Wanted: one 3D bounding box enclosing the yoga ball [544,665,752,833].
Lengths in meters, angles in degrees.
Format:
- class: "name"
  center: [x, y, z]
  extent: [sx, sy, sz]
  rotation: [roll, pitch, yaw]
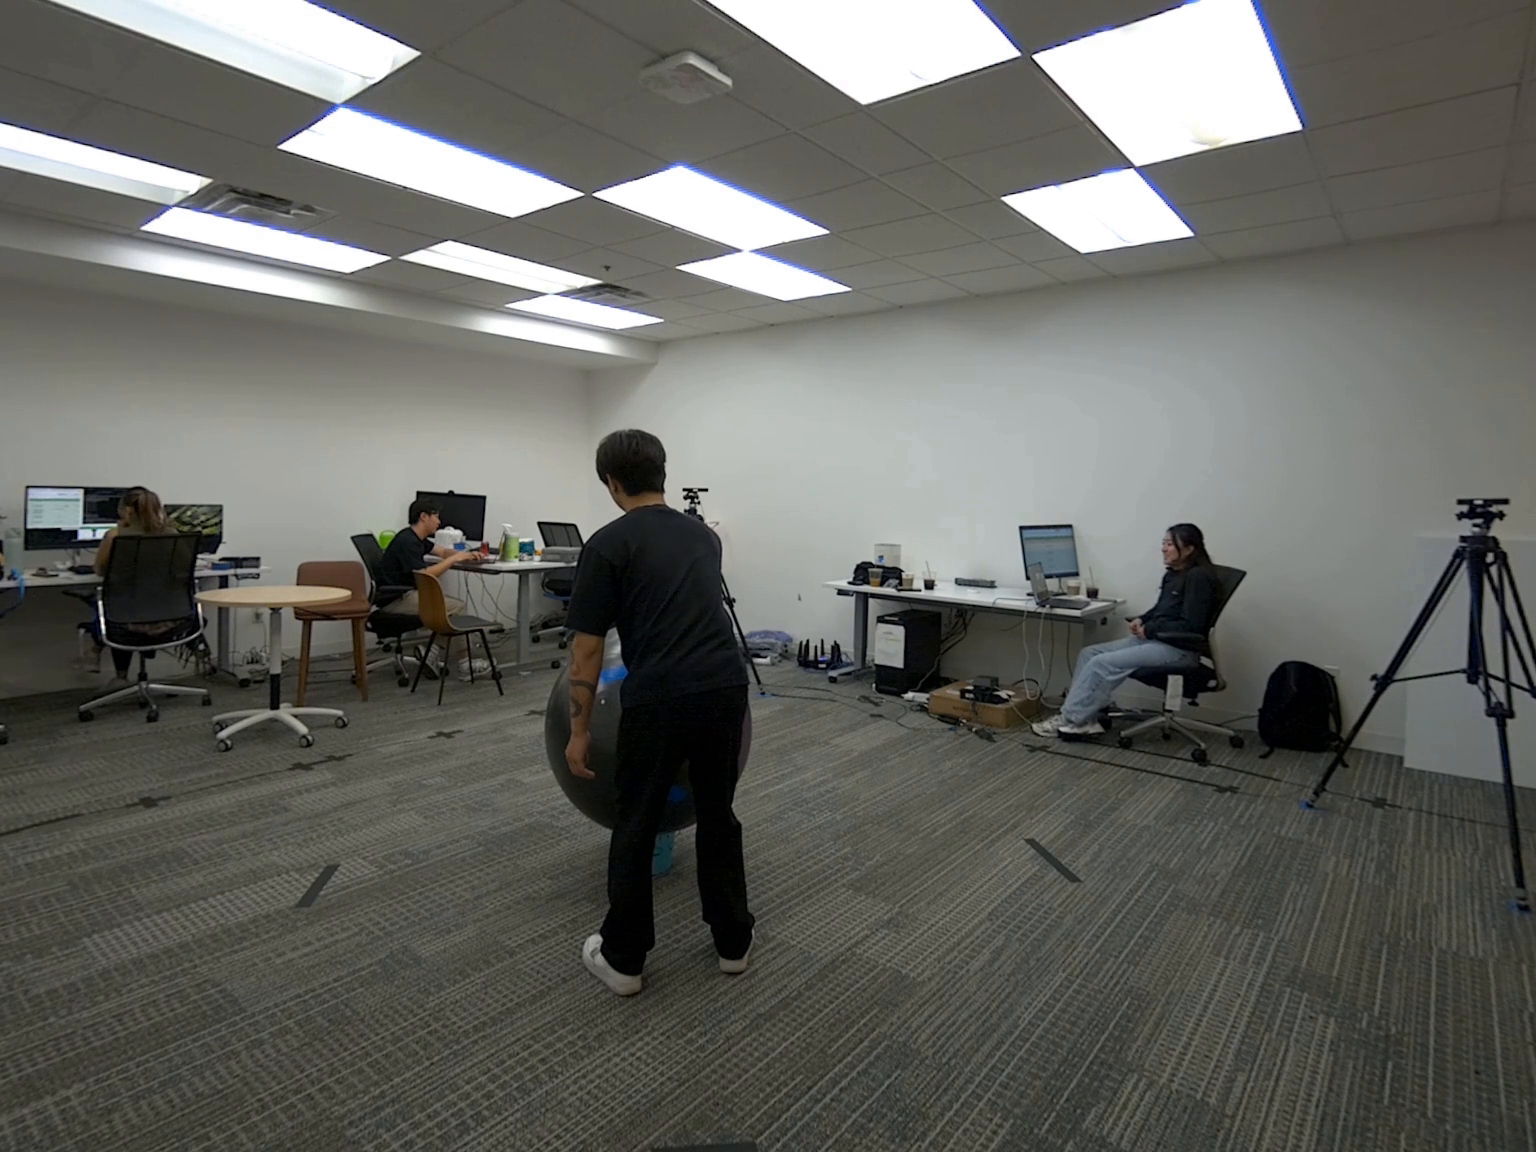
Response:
- class: "yoga ball"
  center: [-0.447, 0.553, 3.136]
  extent: [0.757, 0.756, 0.762]
  rotation: [1, 4, -2]
